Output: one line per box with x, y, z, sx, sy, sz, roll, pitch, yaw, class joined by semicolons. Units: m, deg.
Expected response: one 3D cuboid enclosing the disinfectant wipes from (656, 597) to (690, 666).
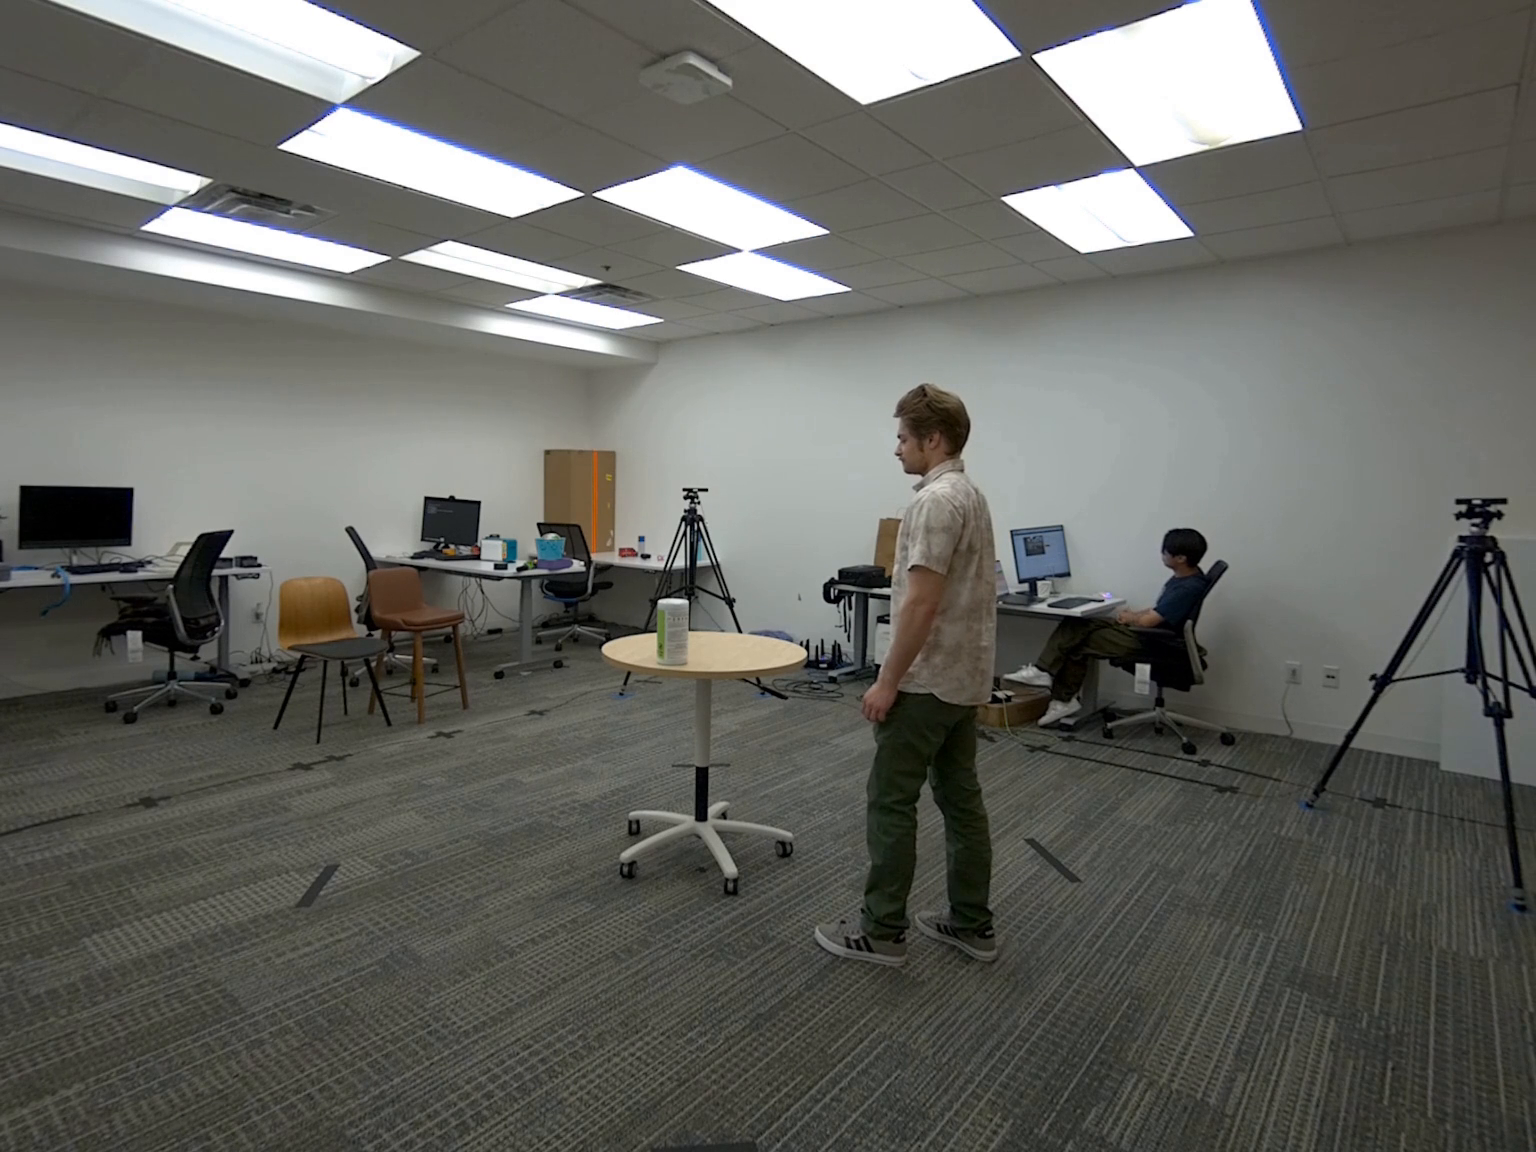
-0.338;0.191;2.925;0.118;0.216;0.118;0;5;-2;disinfectant wipes
